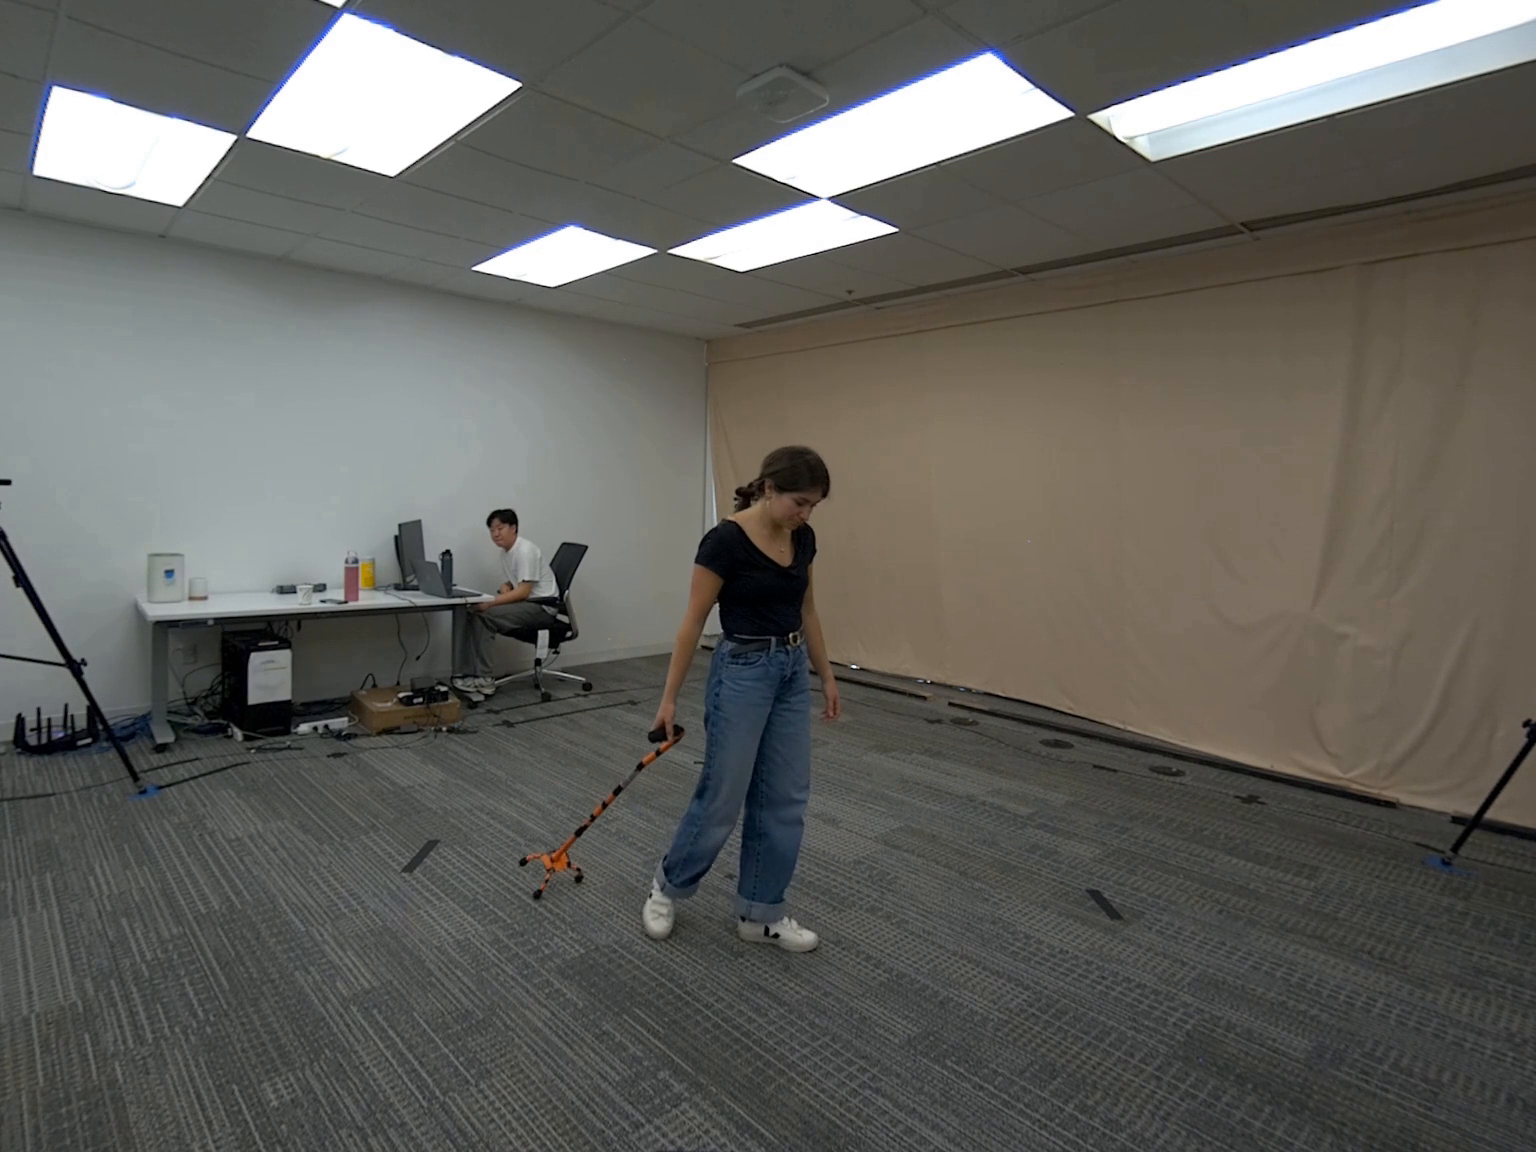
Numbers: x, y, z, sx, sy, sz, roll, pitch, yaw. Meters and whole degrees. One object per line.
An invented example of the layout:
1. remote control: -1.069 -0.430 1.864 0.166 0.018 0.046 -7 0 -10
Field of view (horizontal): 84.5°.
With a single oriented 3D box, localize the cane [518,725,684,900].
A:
1. cane: -0.534 0.763 2.755 0.202 0.155 0.906 -6 -36 -49
